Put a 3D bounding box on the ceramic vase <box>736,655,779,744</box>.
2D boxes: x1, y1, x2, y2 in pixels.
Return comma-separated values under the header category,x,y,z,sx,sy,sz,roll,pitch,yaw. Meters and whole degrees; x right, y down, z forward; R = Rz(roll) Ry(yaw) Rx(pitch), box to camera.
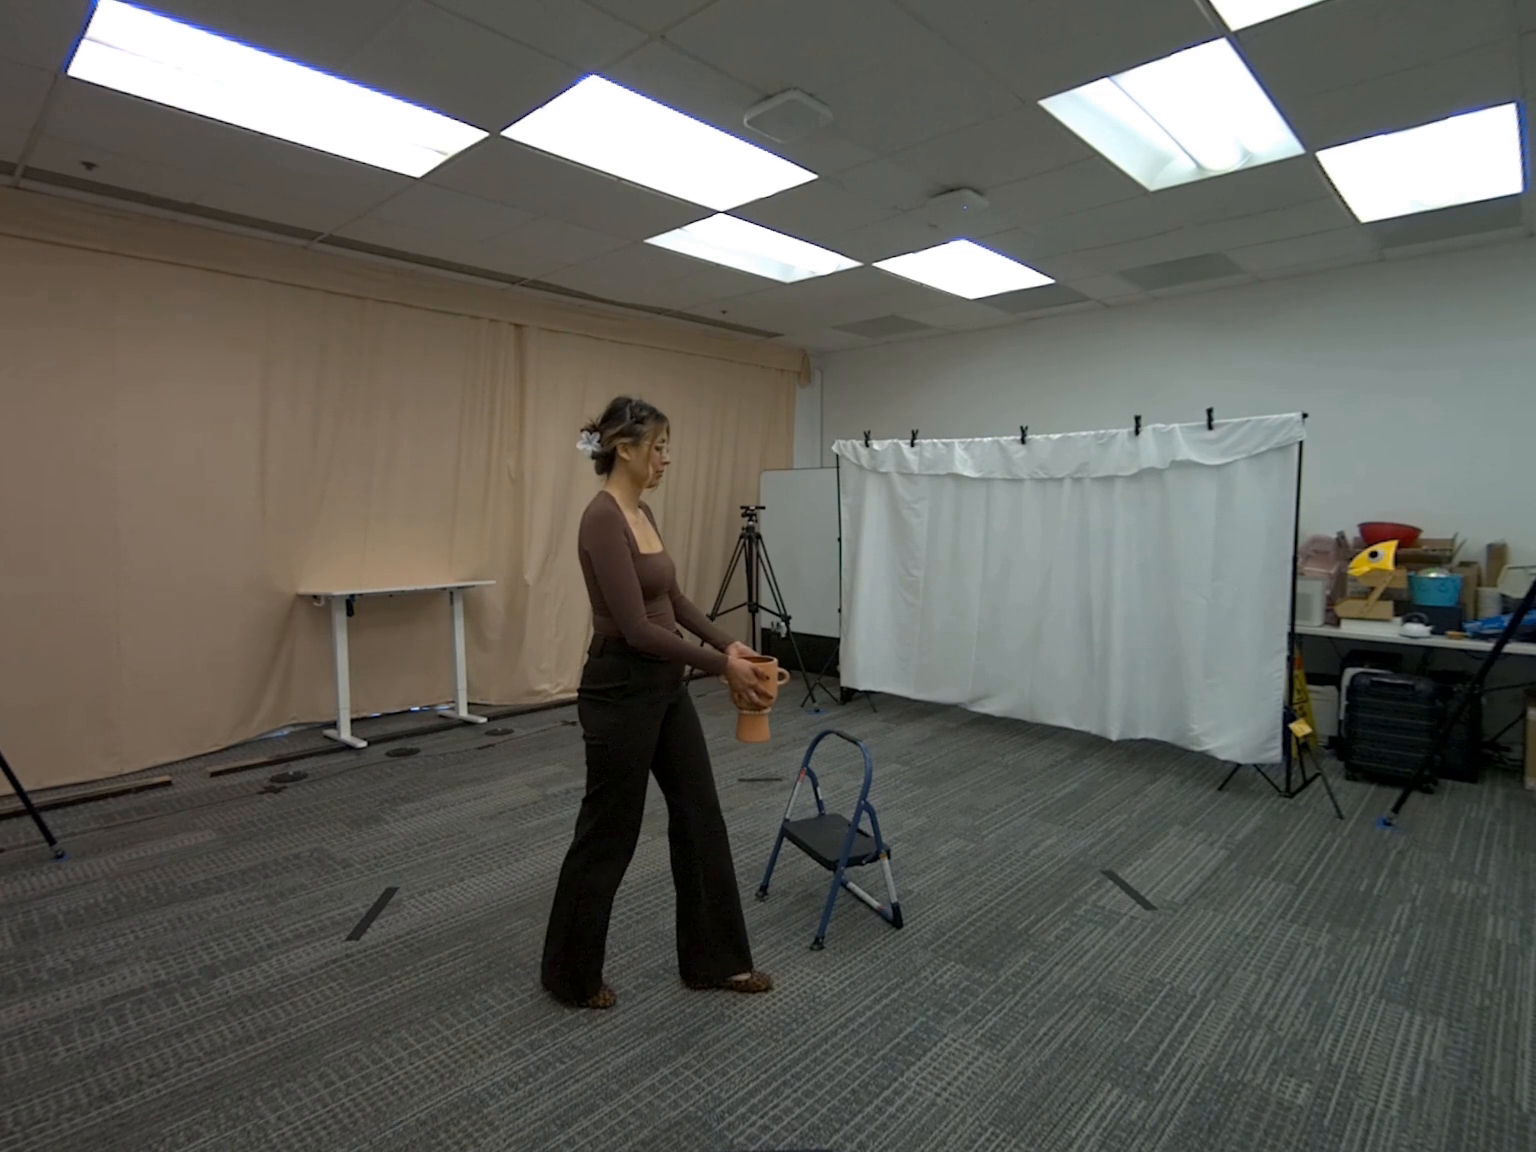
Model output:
category,x,y,z,sx,sy,sz,roll,pitch,yaw
ceramic vase,-0.033,0.341,2.316,0.163,0.219,0.131,2,2,32
